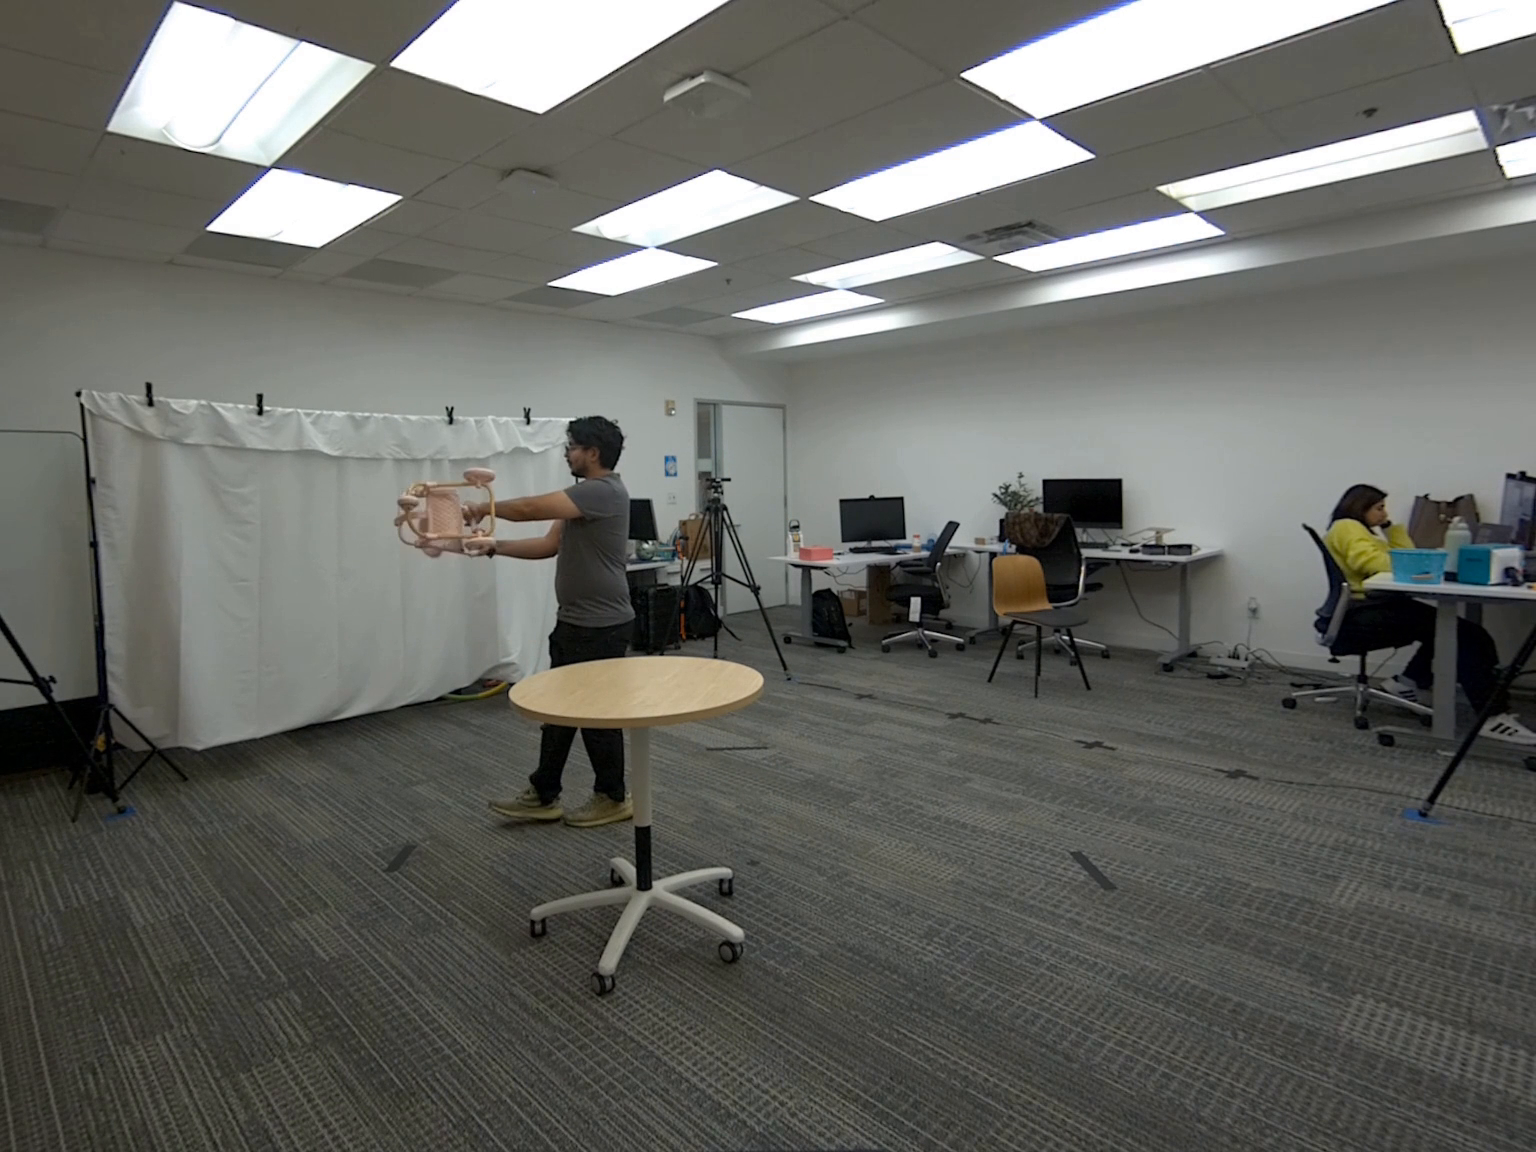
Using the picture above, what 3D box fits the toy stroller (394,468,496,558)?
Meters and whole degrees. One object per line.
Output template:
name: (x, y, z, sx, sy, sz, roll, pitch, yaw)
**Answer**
toy stroller: (-1.173, -0.197, 3.097, 0.334, 0.284, 0.541, -5, -8, -28)
